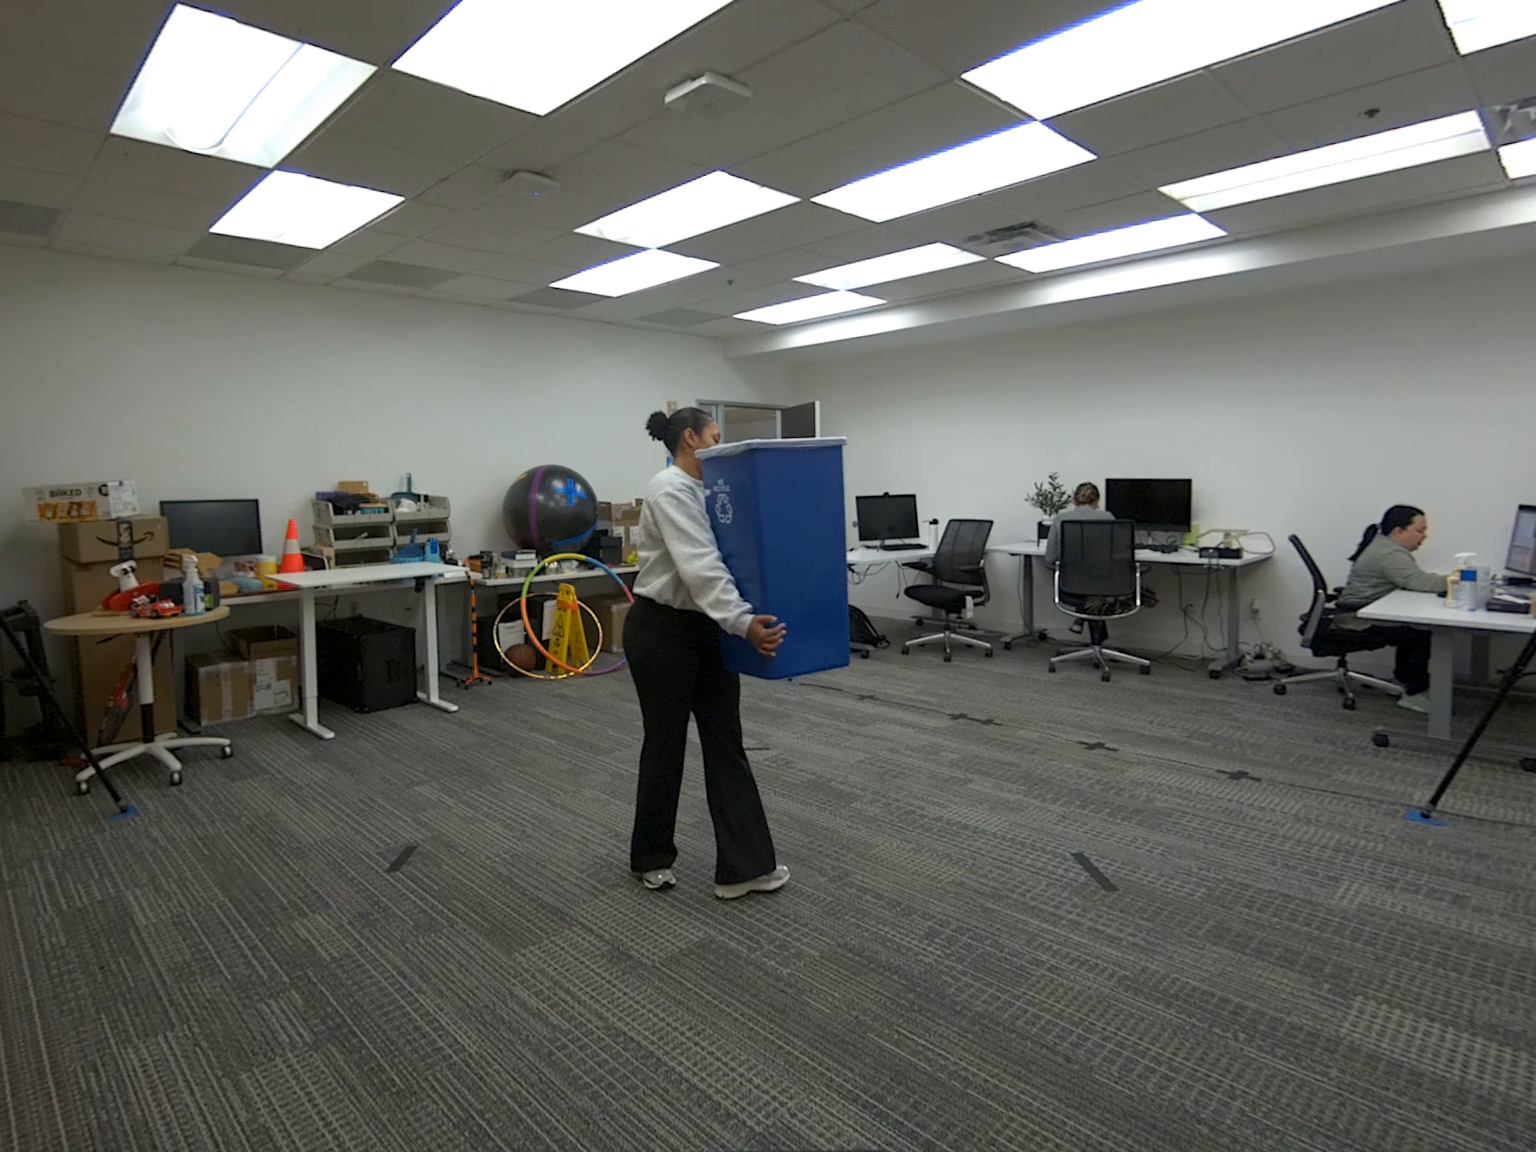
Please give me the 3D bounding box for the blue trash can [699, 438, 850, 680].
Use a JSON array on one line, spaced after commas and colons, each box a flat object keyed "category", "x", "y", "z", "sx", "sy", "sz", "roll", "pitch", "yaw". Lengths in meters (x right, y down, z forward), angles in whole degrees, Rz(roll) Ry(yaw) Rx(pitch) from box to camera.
[{"category": "blue trash can", "x": 0.037, "y": -0.064, "z": 2.704, "sx": 0.366, "sy": 0.712, "sz": 0.387, "roll": -5, "pitch": 2, "yaw": -28}]
